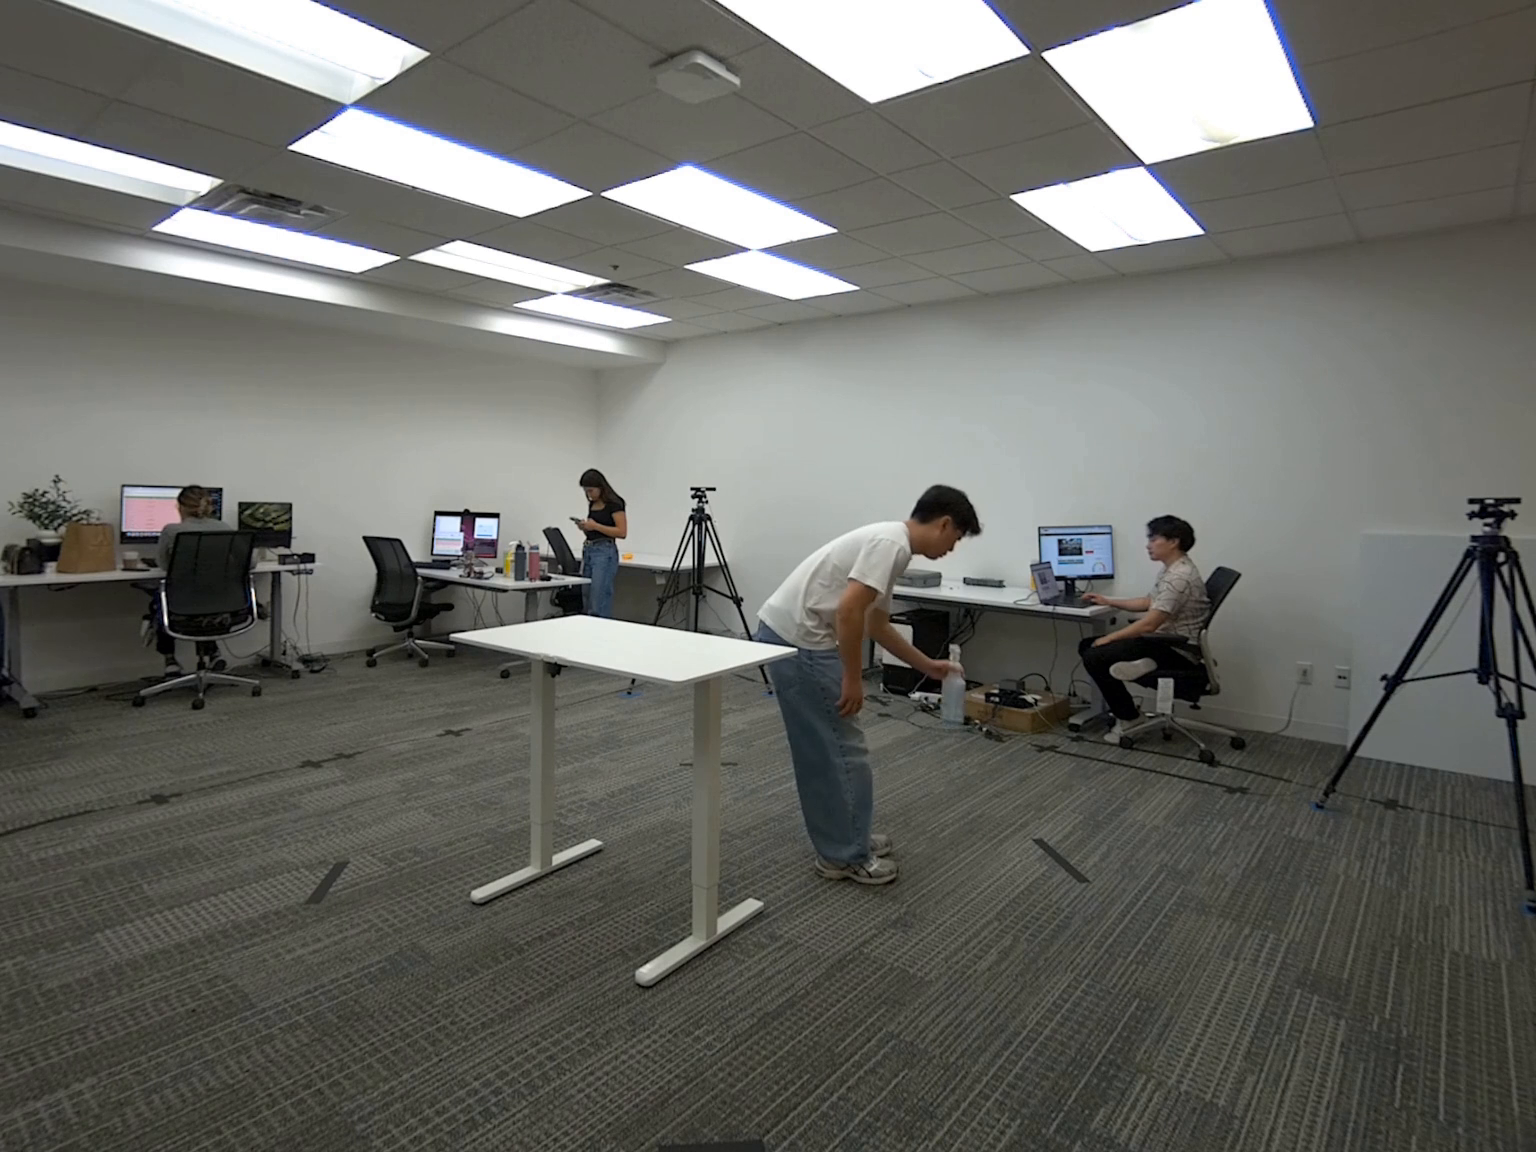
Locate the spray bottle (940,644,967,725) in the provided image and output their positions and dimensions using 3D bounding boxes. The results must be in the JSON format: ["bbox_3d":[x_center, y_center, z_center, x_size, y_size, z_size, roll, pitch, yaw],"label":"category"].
[{"bbox_3d":[0.700,0.415,3.261,0.087,0.296,0.090,0,3,-33],"label":"spray bottle"}]
